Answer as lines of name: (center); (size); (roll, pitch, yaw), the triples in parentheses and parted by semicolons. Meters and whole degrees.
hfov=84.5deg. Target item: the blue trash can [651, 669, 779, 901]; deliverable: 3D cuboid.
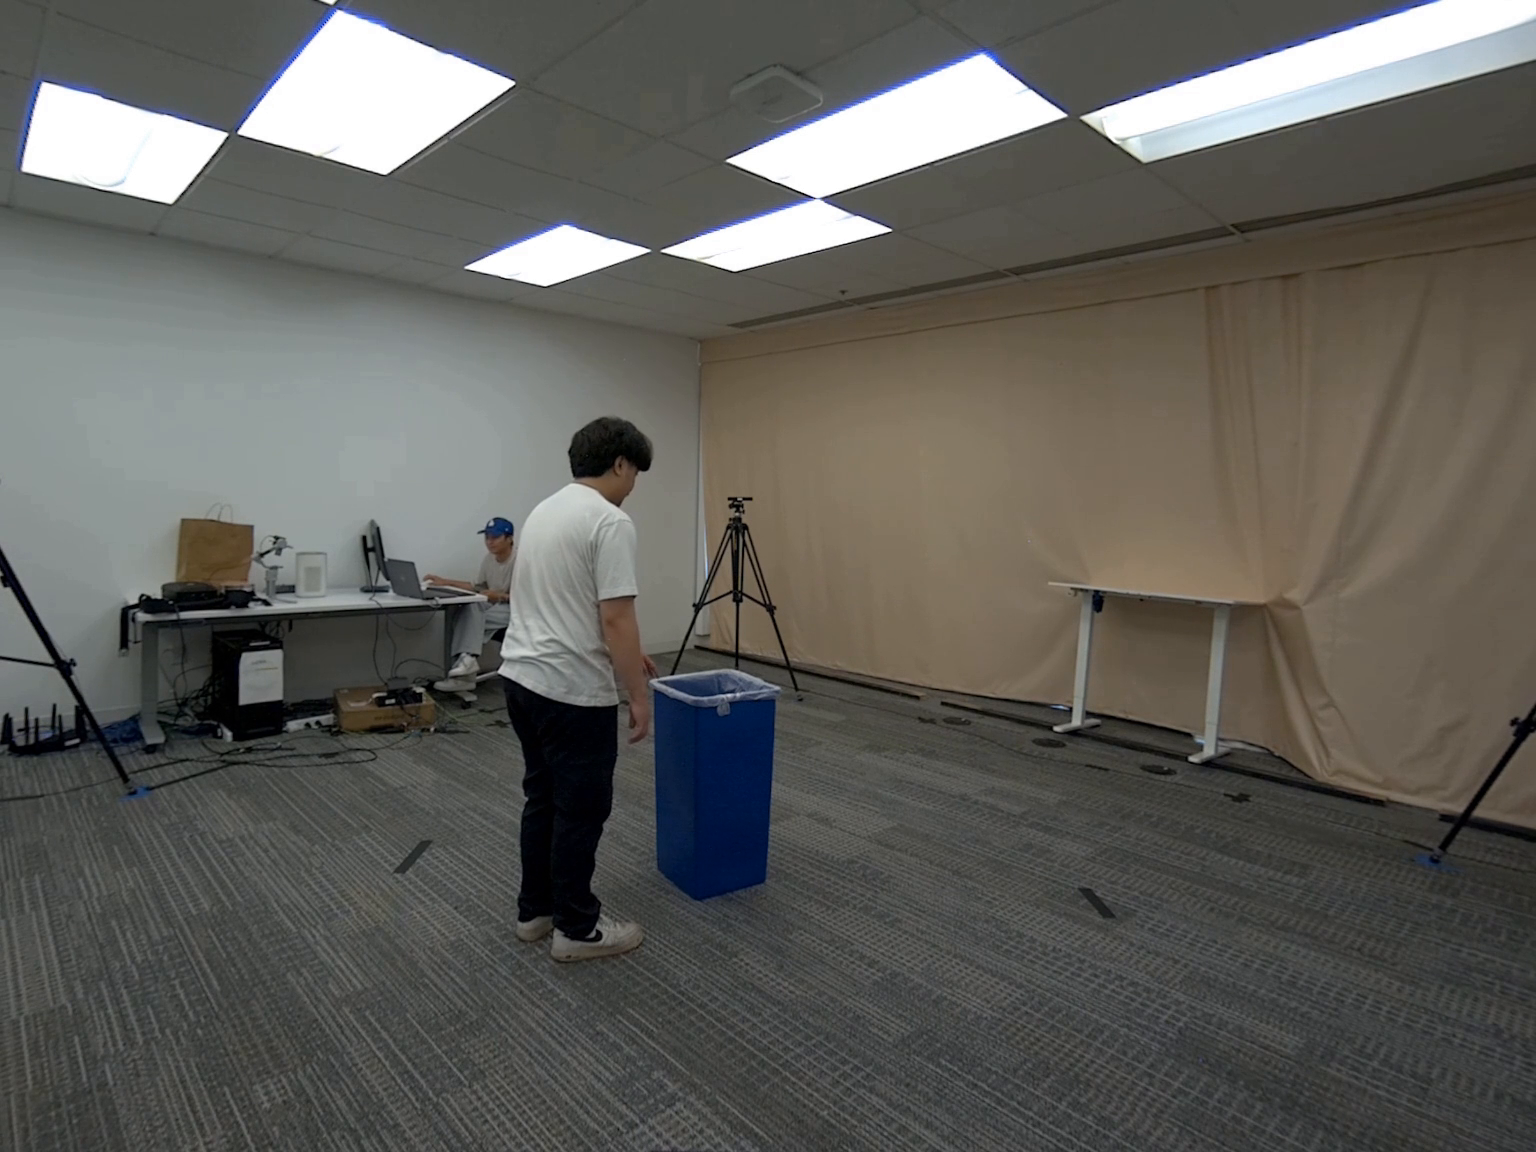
blue trash can: (-0.215, 0.748, 3.096); (0.370, 0.712, 0.383); (-1, 4, -34)
